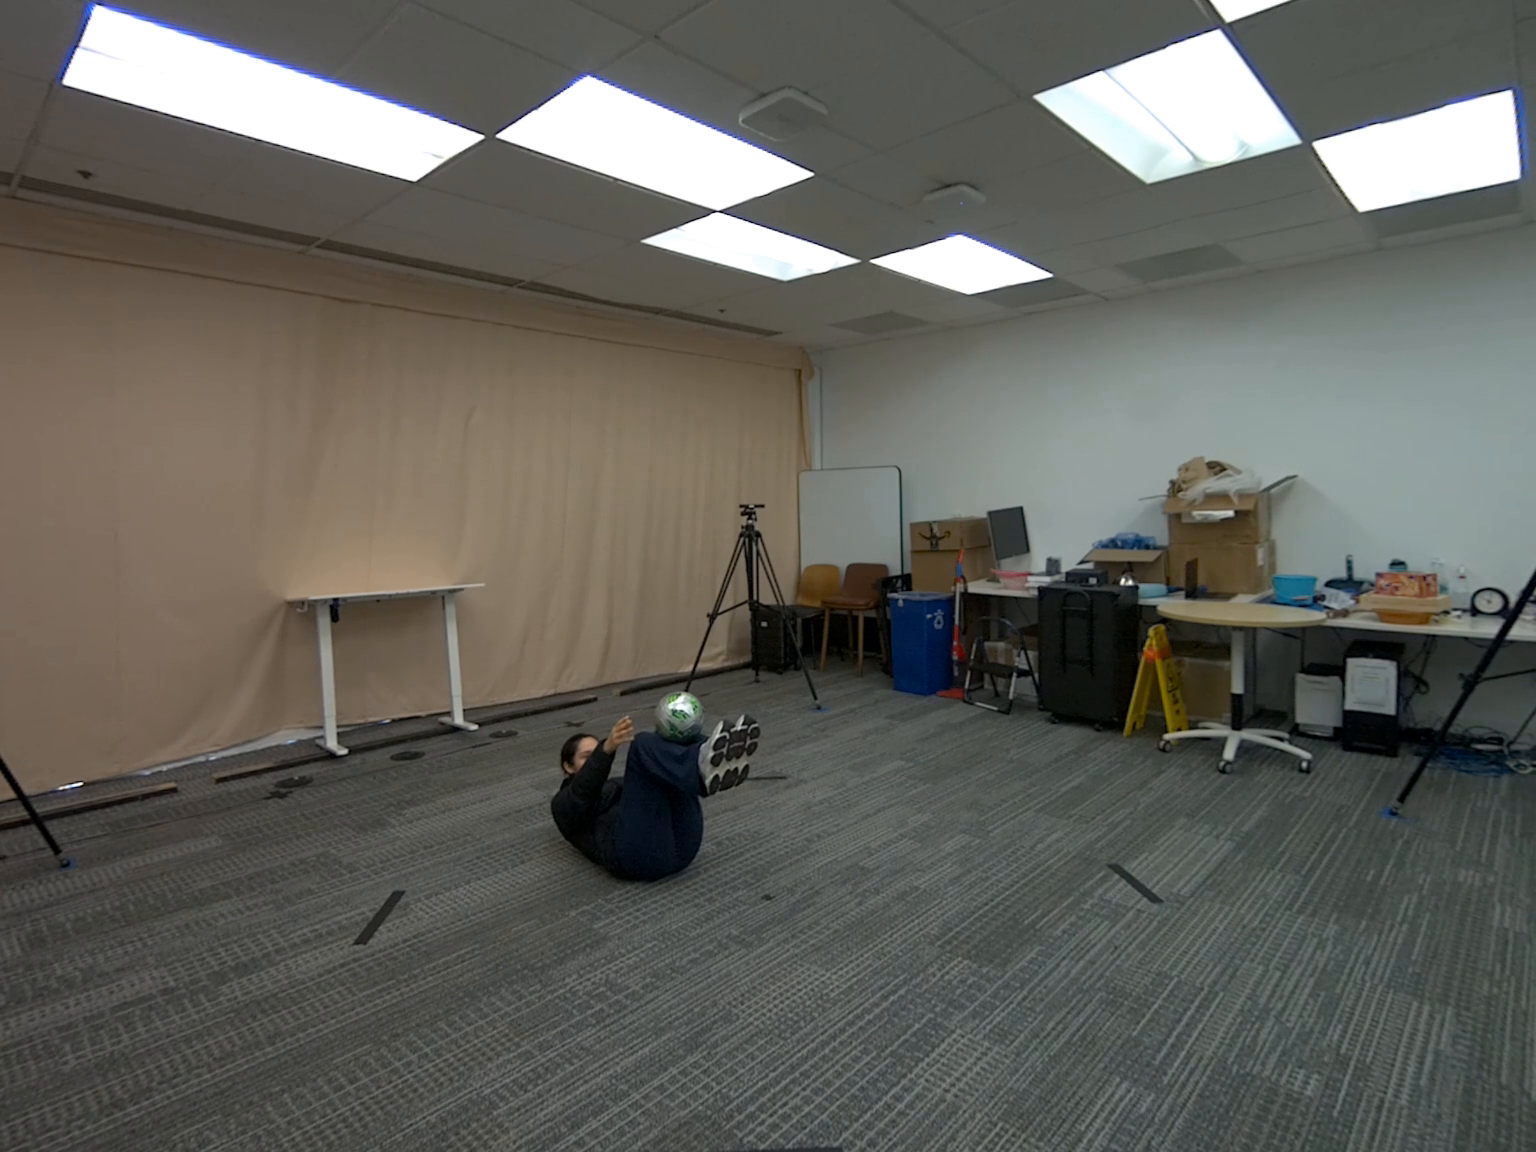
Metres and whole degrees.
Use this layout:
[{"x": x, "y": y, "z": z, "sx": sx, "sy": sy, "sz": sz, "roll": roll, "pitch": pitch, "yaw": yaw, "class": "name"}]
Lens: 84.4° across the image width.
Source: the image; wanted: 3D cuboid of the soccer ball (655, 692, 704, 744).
[{"x": -0.316, "y": 0.516, "z": 3.066, "sx": 0.187, "sy": 0.187, "sz": 0.188, "roll": 2, "pitch": 5, "yaw": -2, "class": "soccer ball"}]
